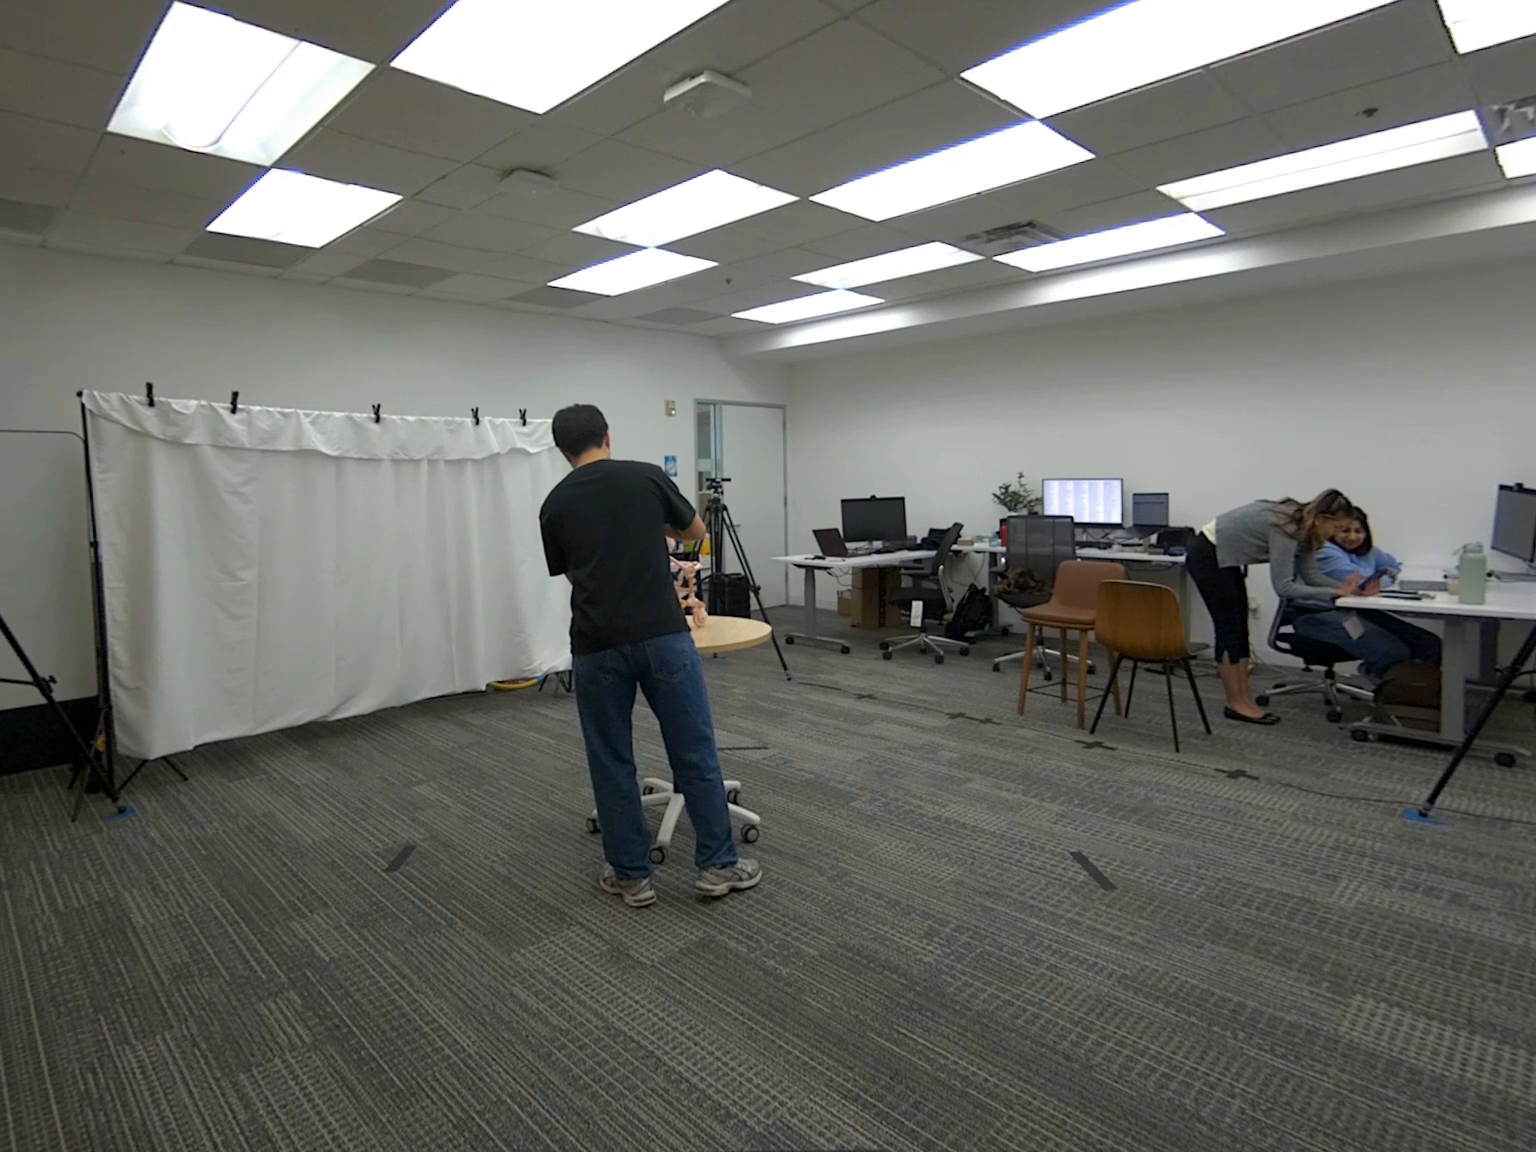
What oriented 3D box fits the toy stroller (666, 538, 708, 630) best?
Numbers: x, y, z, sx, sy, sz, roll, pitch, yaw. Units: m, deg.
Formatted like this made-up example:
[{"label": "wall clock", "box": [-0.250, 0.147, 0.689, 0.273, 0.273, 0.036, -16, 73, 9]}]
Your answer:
[{"label": "toy stroller", "box": [-0.417, -0.005, 3.369, 0.336, 0.529, 0.289, -20, 13, -32]}]
